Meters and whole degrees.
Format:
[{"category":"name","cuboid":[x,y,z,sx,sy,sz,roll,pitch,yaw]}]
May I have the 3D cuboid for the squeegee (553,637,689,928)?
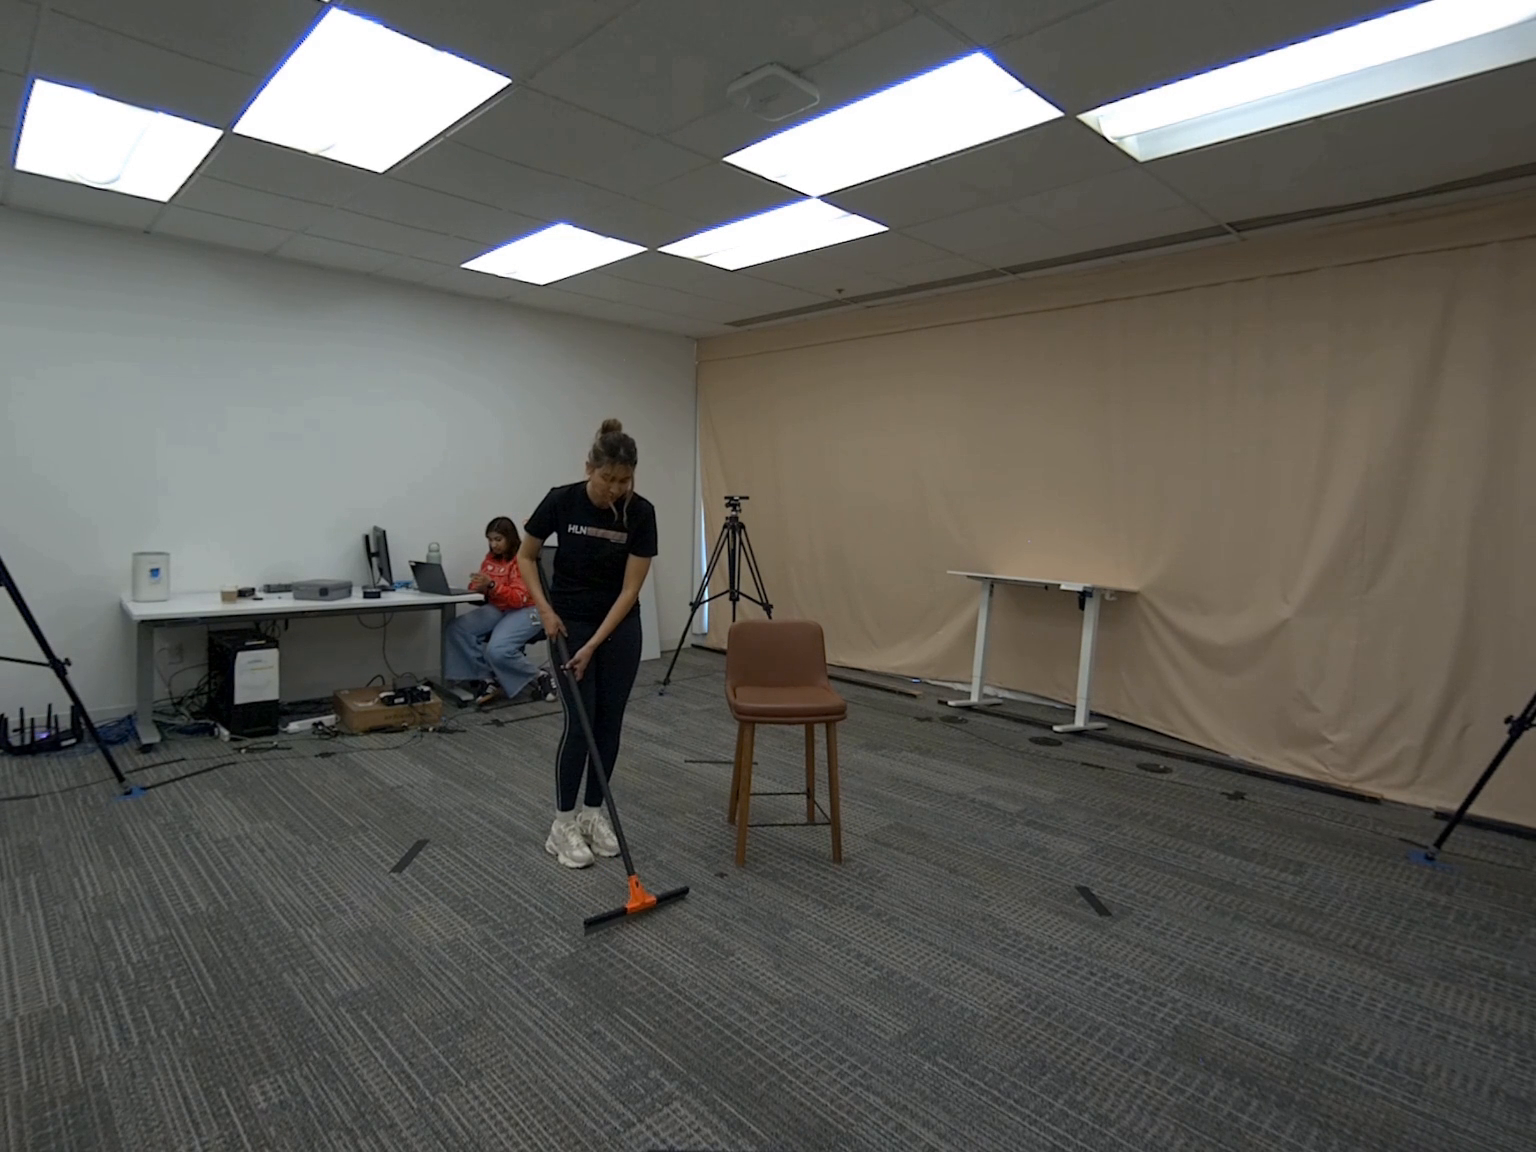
[{"category":"squeegee","cuboid":[-0.718,0.443,3.045,0.427,1.570,0.053,0,-34,-48]}]
